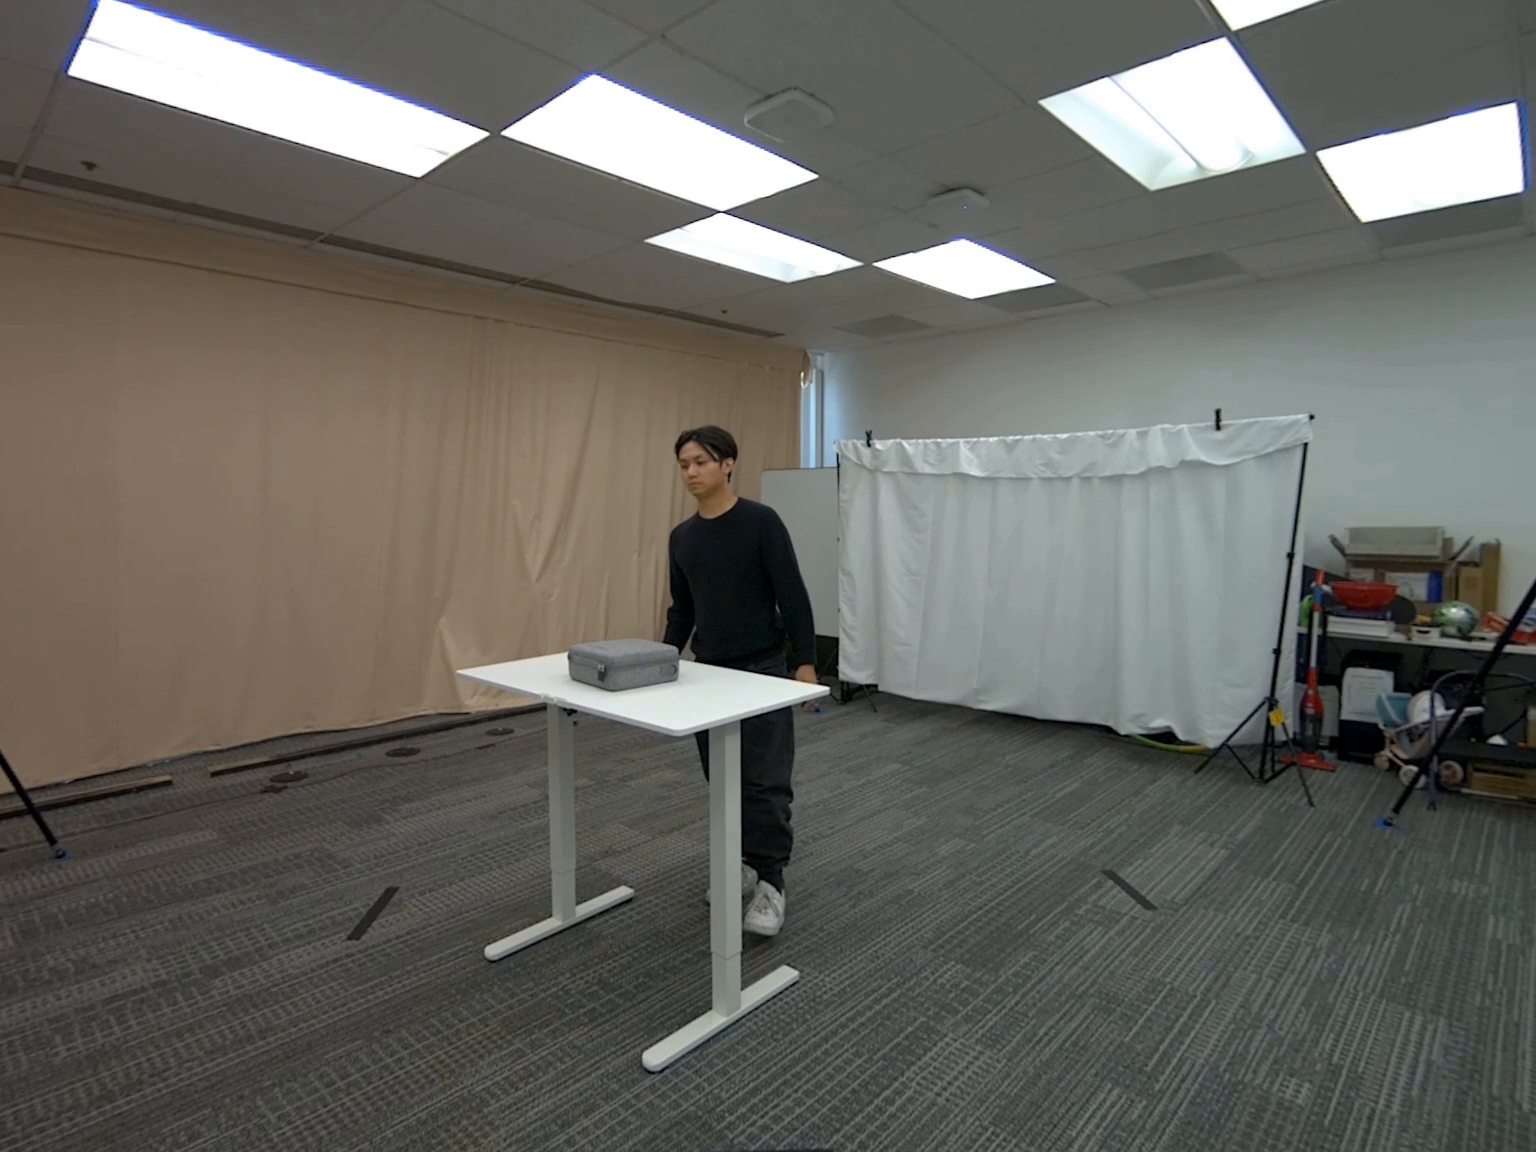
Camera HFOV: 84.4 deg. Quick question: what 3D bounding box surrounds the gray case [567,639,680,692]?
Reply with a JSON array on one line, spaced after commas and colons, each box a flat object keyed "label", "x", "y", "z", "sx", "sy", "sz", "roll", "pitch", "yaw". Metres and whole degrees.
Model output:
[{"label": "gray case", "x": -0.431, "y": 0.255, "z": 2.471, "sx": 0.253, "sy": 0.104, "sz": 0.265, "roll": -3, "pitch": 5, "yaw": -39}]
